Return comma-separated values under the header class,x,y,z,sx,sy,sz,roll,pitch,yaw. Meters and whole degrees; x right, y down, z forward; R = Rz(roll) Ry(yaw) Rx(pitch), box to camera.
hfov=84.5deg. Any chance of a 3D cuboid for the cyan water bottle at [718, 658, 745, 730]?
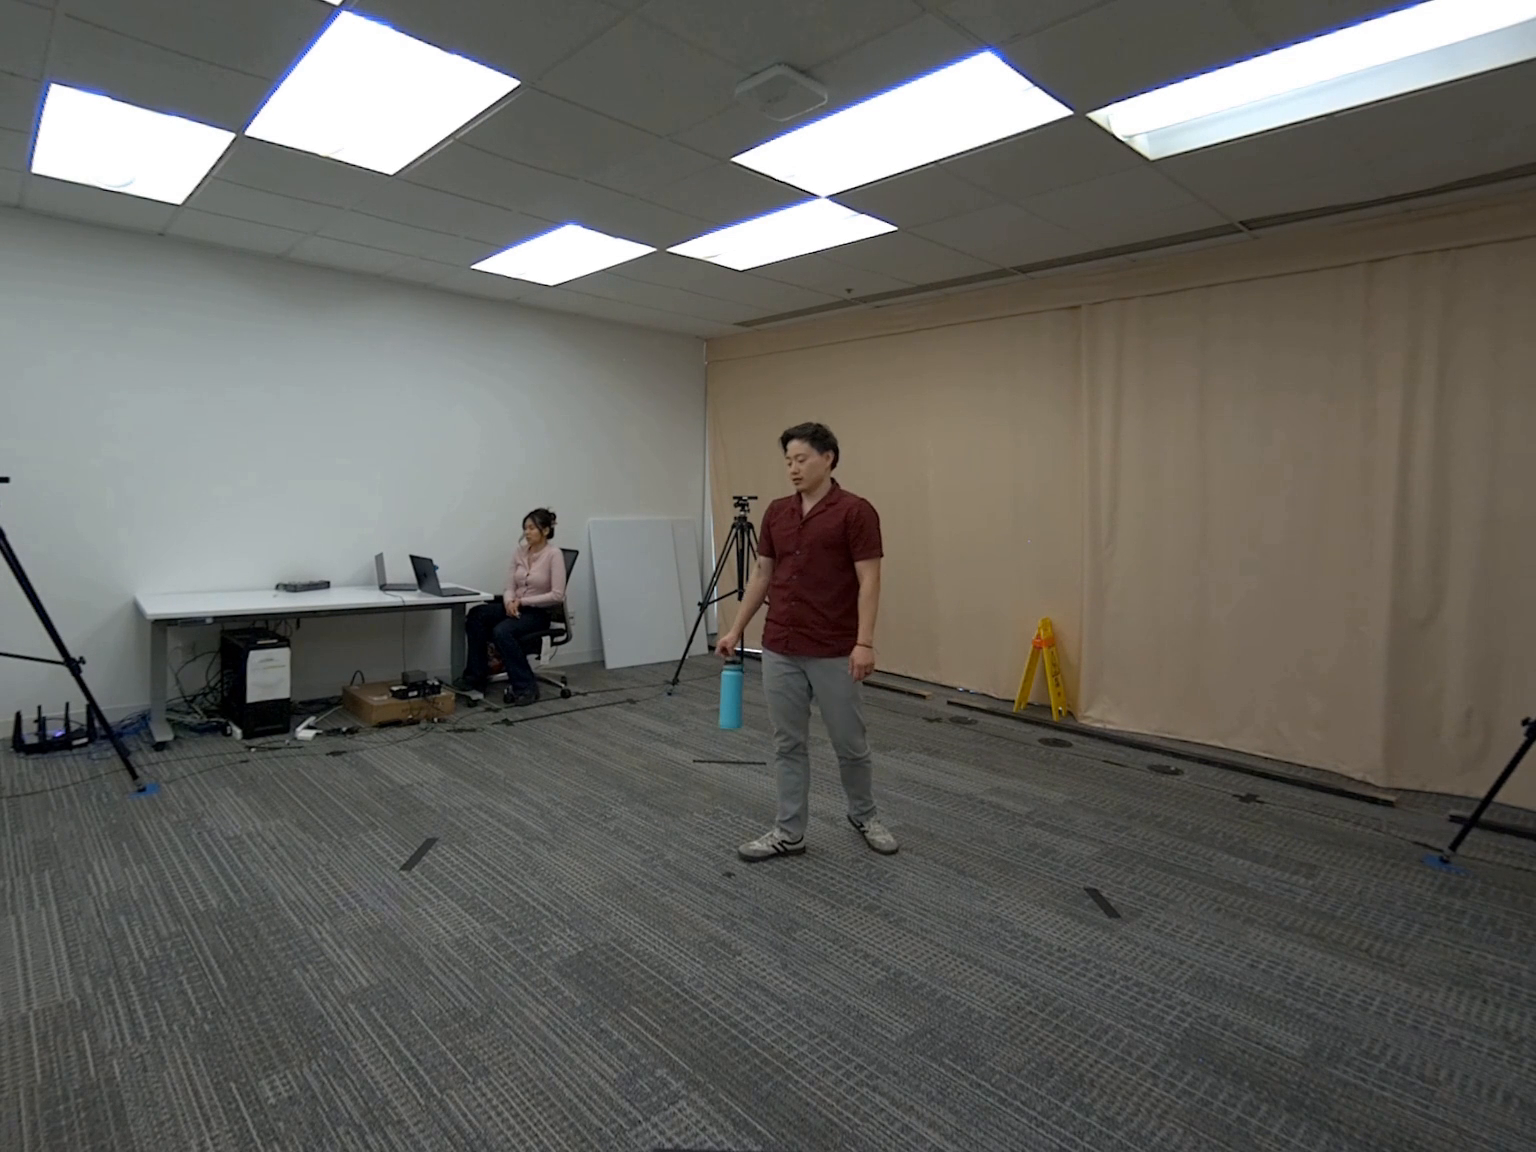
class,x,y,z,sx,sy,sz,roll,pitch,yaw
cyan water bottle,-0.141,0.467,3.375,0.092,0.284,0.092,4,-6,-1
